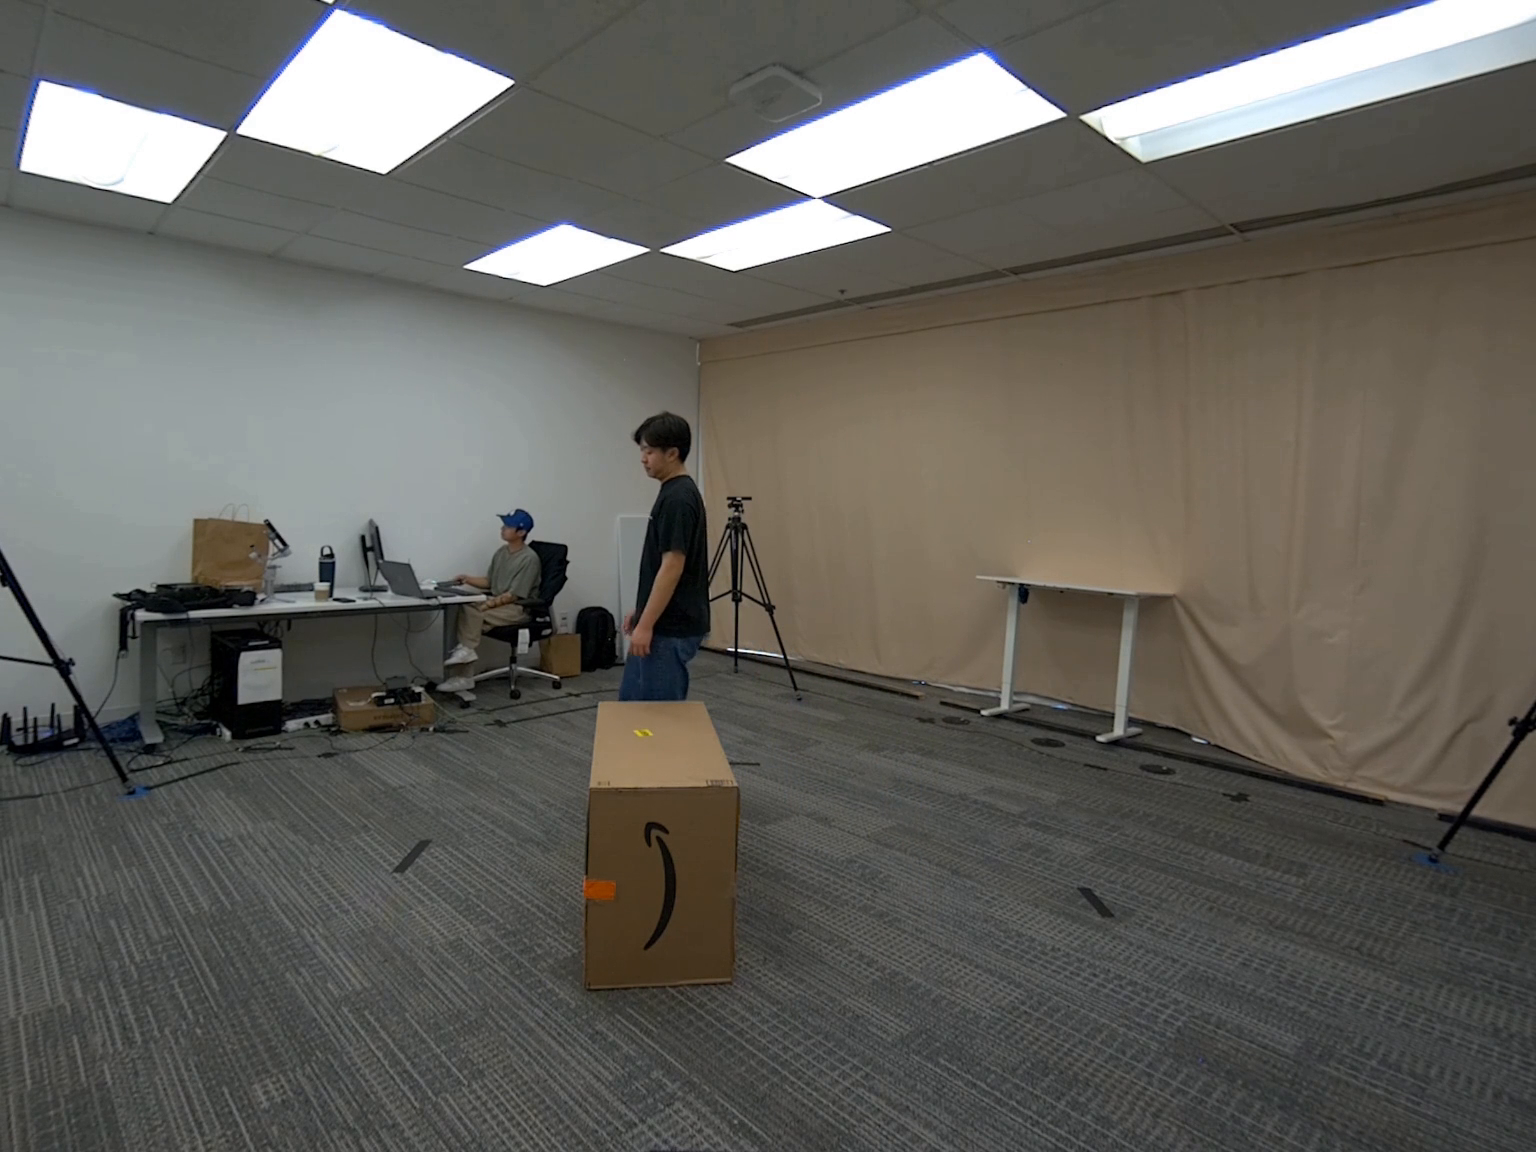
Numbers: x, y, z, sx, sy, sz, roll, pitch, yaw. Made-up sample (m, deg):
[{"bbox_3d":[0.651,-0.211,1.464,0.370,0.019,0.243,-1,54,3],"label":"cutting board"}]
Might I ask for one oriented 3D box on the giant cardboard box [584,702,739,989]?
[{"bbox_3d":[-0.392,0.834,2.878,0.443,0.582,1.037,0,4,-10],"label":"giant cardboard box"}]
